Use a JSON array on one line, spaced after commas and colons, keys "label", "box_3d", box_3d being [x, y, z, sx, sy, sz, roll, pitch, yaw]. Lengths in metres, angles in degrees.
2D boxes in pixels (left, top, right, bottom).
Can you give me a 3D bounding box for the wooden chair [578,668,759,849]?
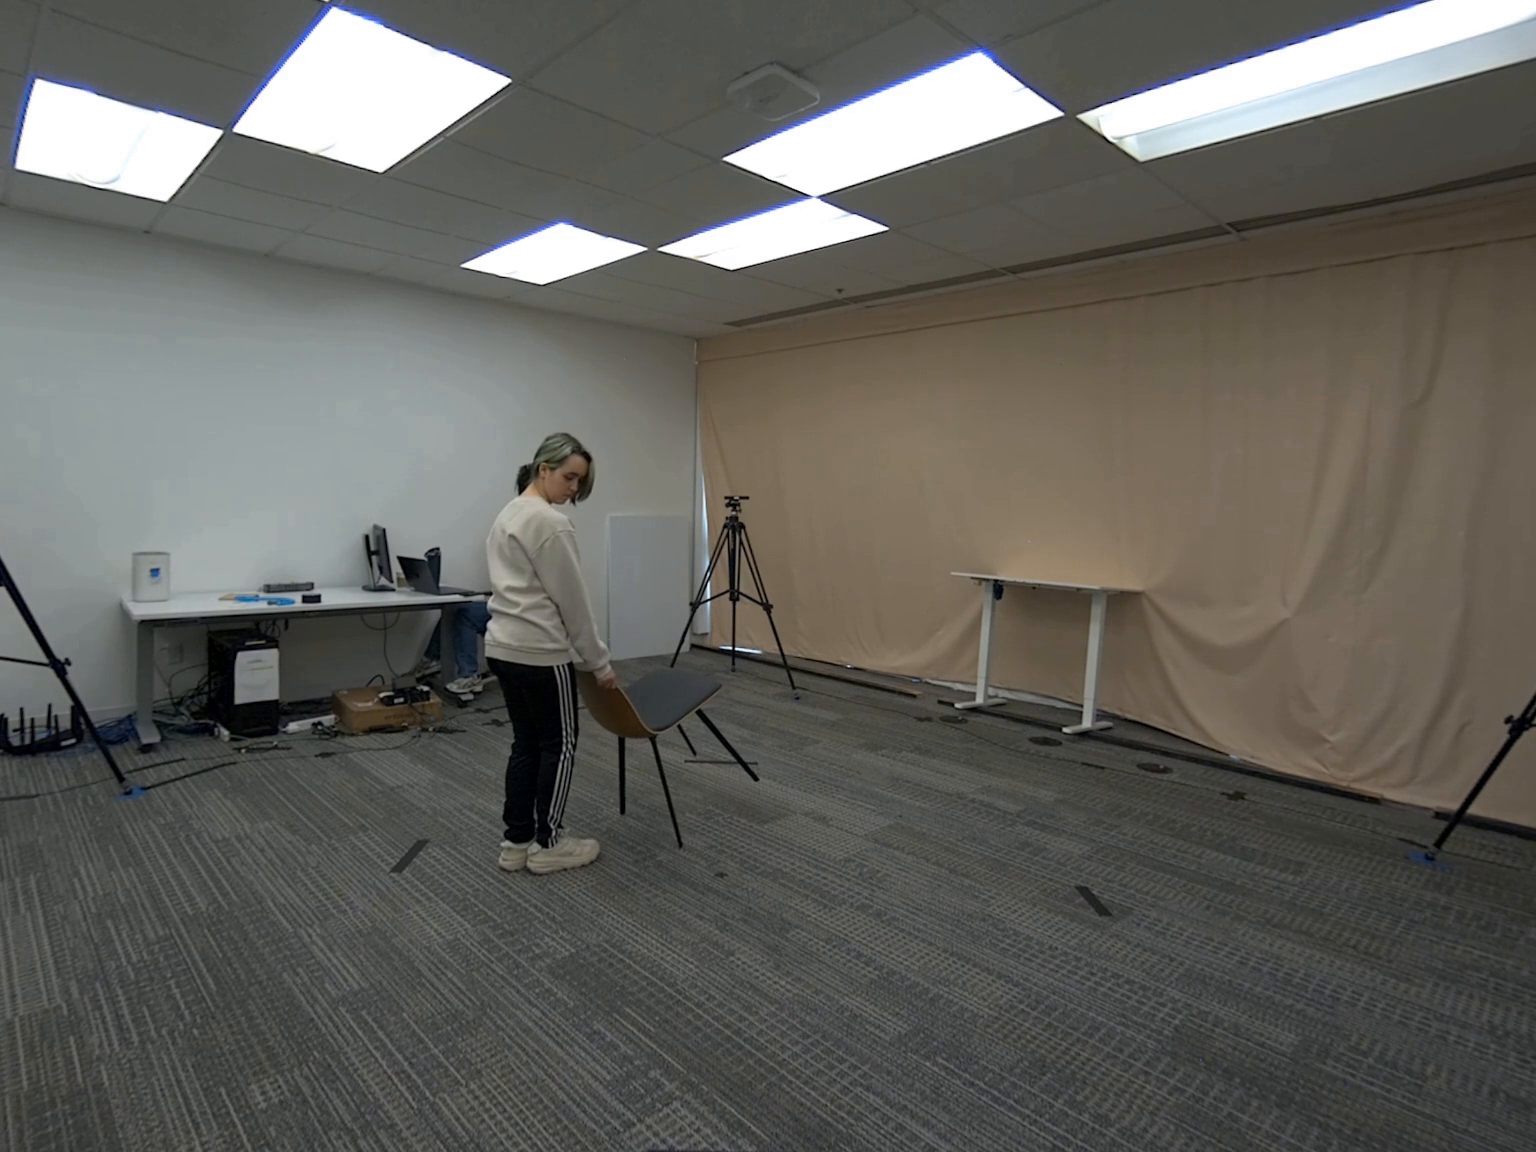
[{"label": "wooden chair", "box_3d": [-0.466, 0.571, 3.483, 0.520, 0.860, 0.490, -38, 26, -32]}]
